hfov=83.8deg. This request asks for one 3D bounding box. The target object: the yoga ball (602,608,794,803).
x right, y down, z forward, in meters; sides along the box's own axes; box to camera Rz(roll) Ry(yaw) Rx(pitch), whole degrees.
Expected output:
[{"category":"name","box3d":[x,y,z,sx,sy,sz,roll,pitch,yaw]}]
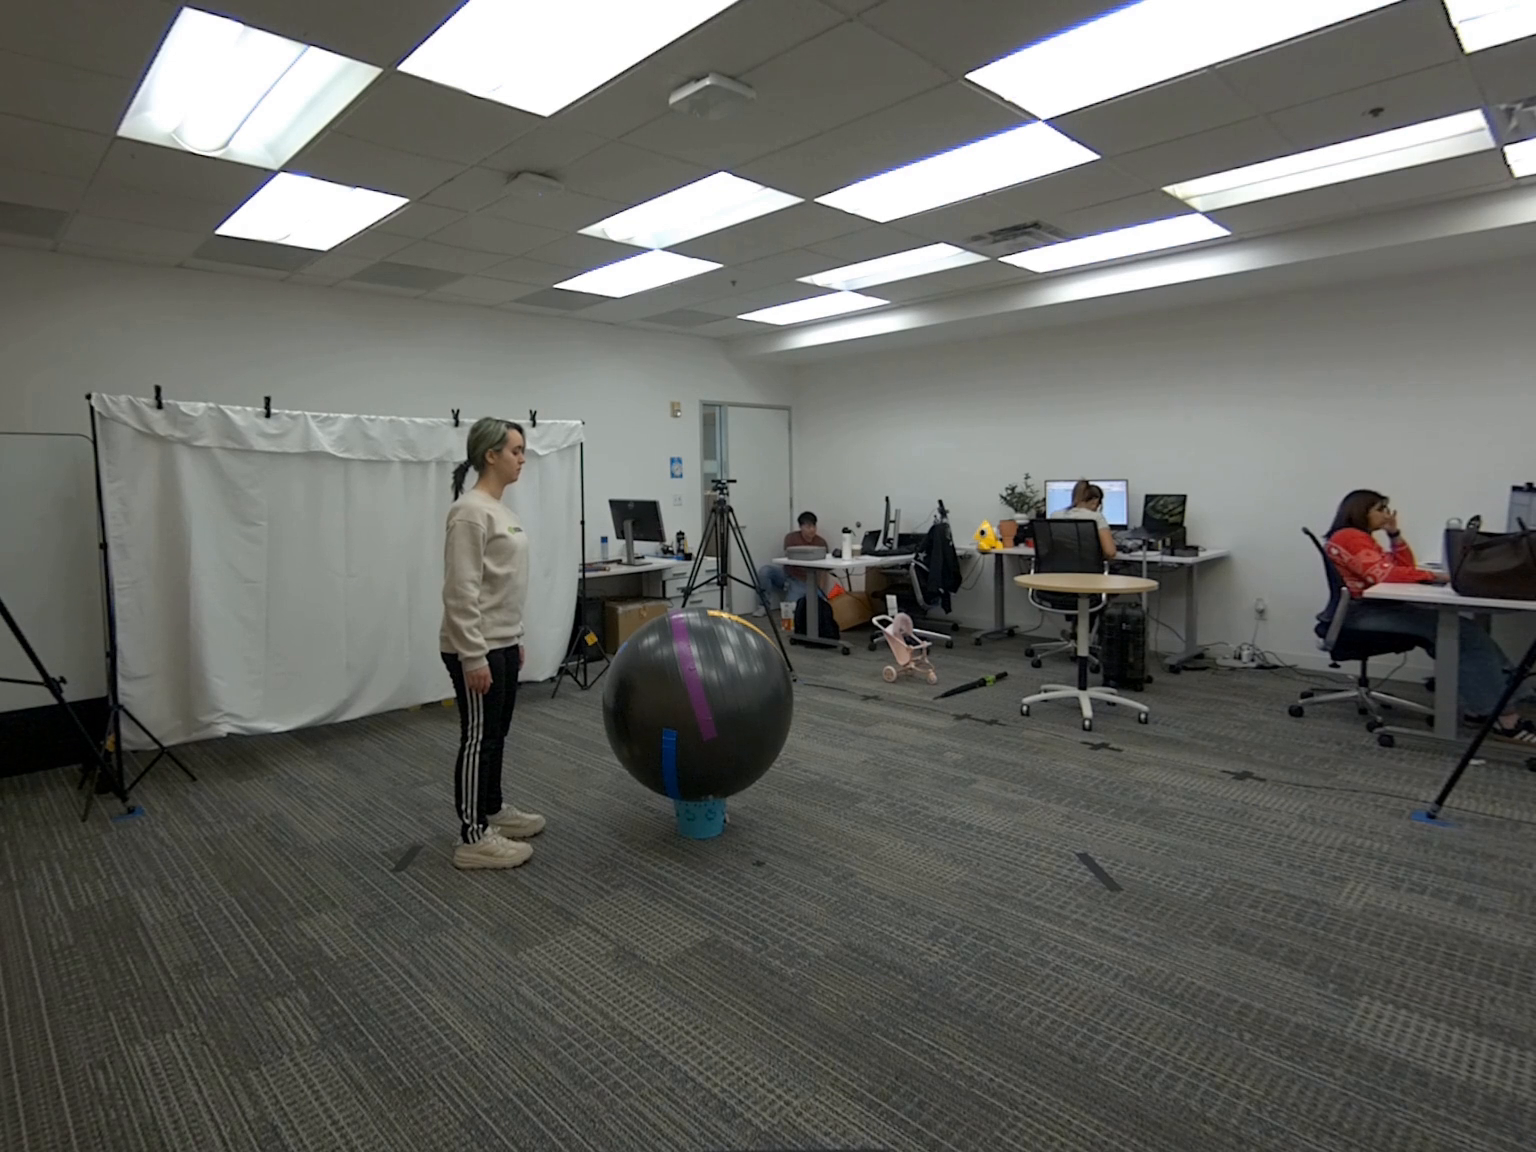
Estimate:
[{"category":"yoga ball","box3d":[-0.272,0.508,3.405,0.757,0.755,0.762,-1,5,-2]}]
